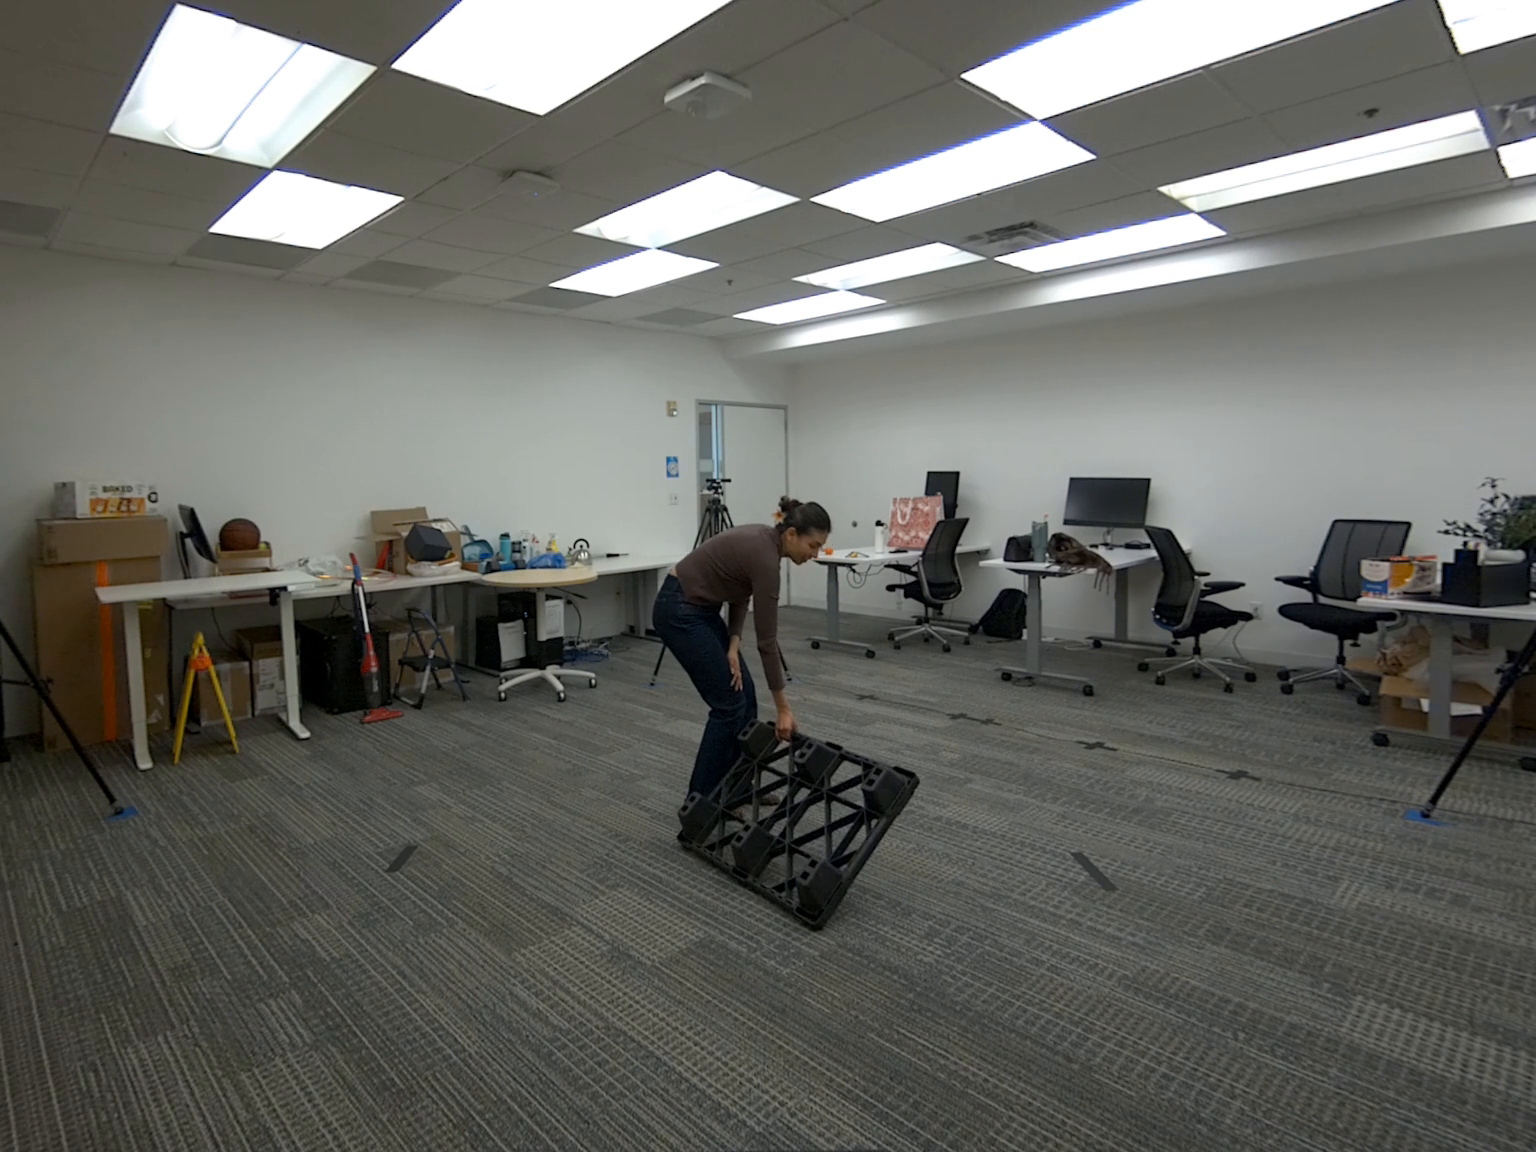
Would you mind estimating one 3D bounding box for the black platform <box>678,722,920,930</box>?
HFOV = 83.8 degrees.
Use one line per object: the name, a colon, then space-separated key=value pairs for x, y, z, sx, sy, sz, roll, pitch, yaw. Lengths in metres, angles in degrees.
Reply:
black platform: x=0.062 y=0.816 z=3.046 sx=0.605 sy=0.139 sz=0.830 roll=-48 pitch=30 yaw=-24
